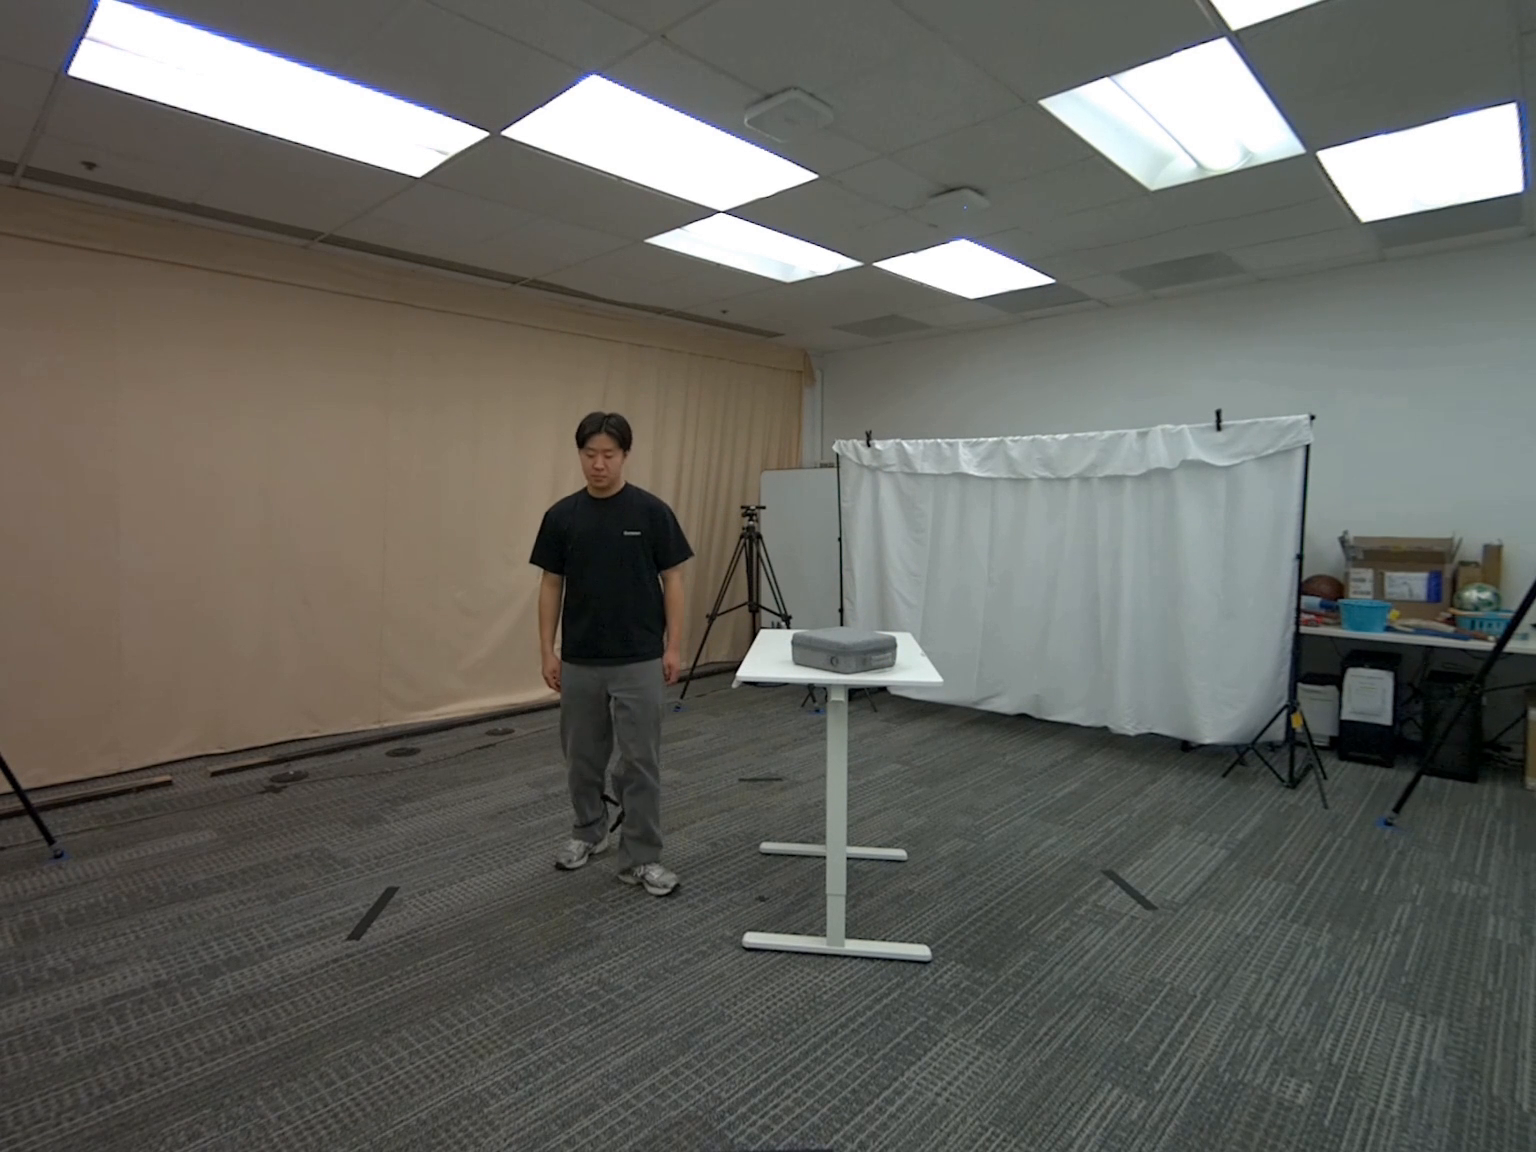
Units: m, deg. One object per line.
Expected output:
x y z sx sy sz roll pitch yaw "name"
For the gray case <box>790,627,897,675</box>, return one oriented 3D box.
0.257 0.234 2.653 0.255 0.103 0.297 -2 6 -41 "gray case"
